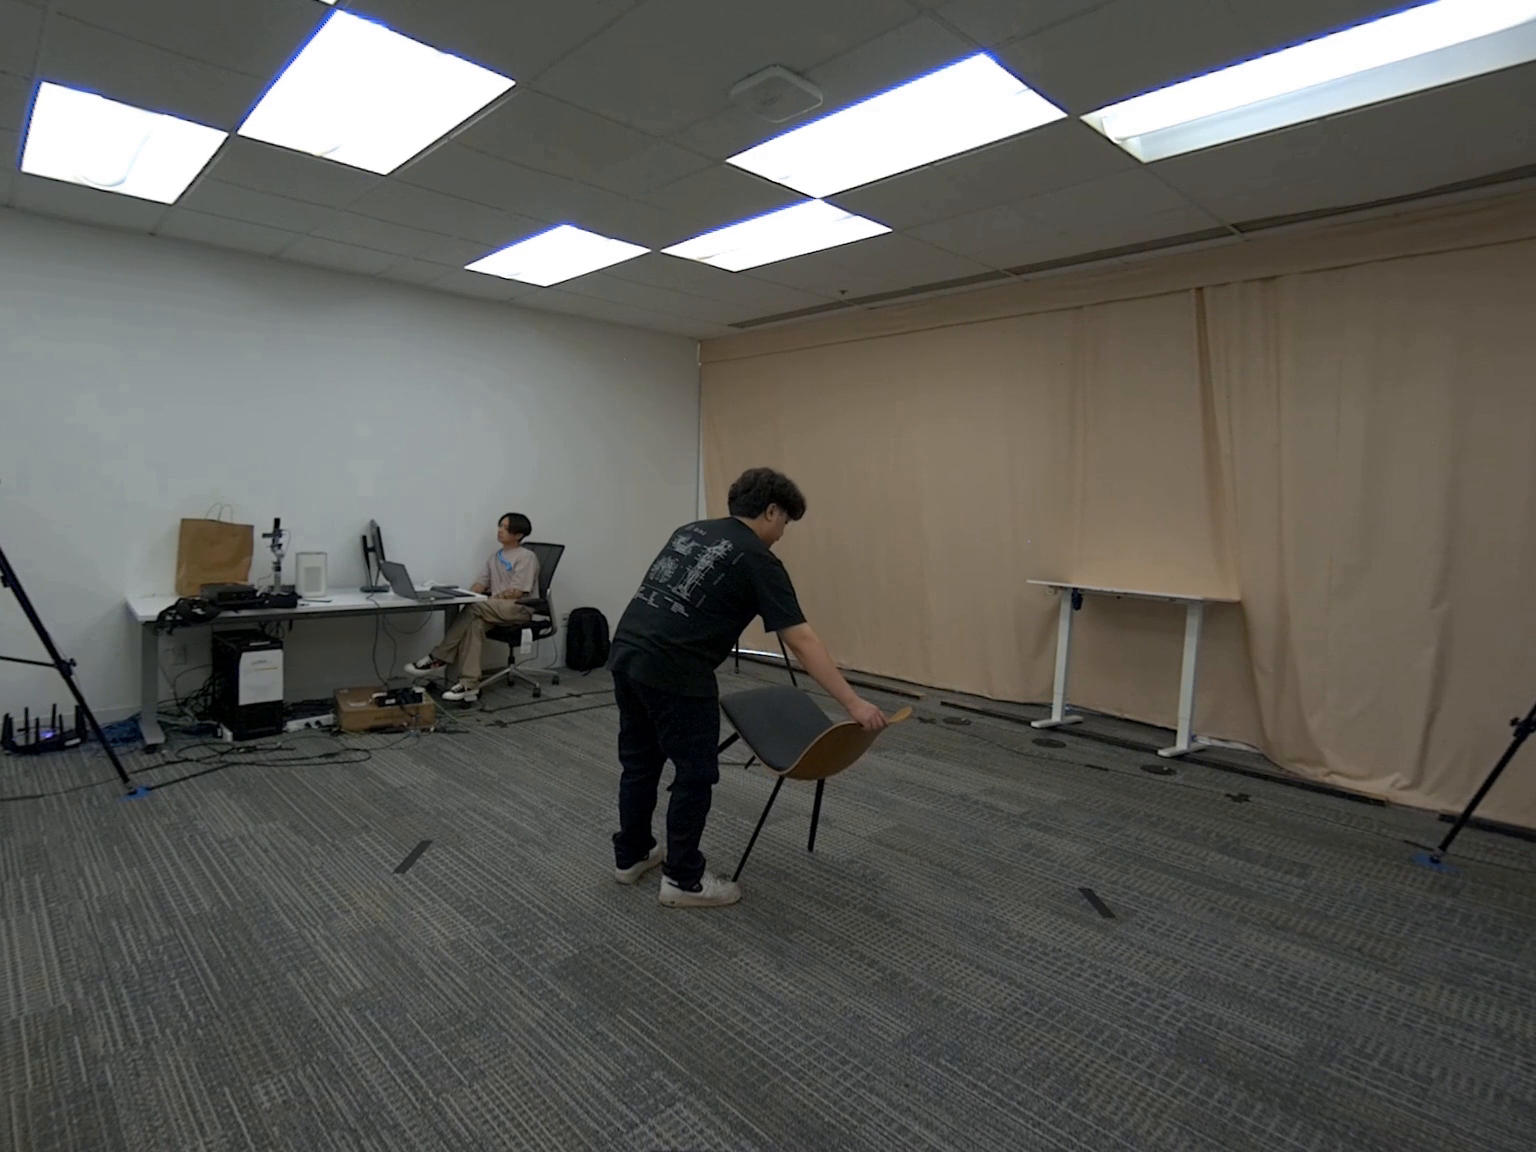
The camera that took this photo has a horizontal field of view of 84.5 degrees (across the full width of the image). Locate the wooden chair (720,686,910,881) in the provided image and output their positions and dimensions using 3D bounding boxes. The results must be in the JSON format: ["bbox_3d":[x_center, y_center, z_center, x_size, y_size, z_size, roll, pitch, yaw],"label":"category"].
[{"bbox_3d":[0.065,0.625,3.135,0.467,0.872,0.538,-2,45,-46],"label":"wooden chair"}]
